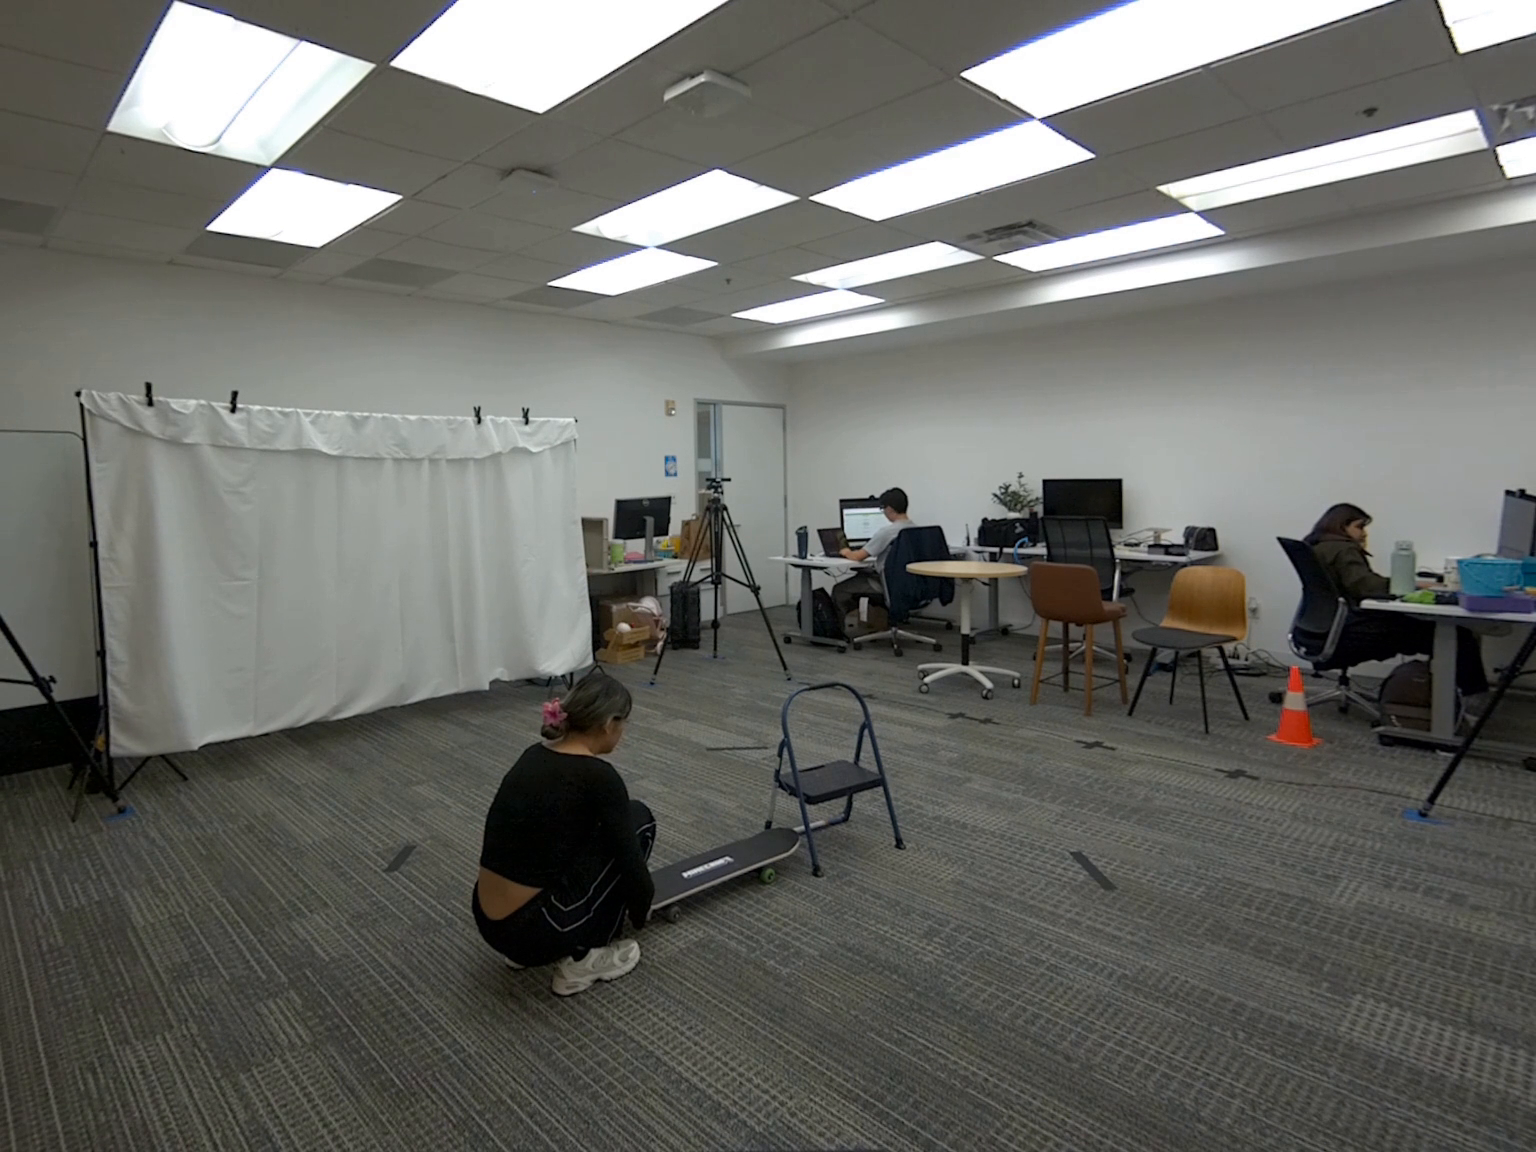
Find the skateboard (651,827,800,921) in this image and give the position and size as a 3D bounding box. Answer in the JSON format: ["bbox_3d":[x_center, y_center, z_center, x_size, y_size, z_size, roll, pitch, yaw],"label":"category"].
[{"bbox_3d":[-0.200,1.014,2.889,0.765,0.110,0.199,-7,8,-39],"label":"skateboard"}]
